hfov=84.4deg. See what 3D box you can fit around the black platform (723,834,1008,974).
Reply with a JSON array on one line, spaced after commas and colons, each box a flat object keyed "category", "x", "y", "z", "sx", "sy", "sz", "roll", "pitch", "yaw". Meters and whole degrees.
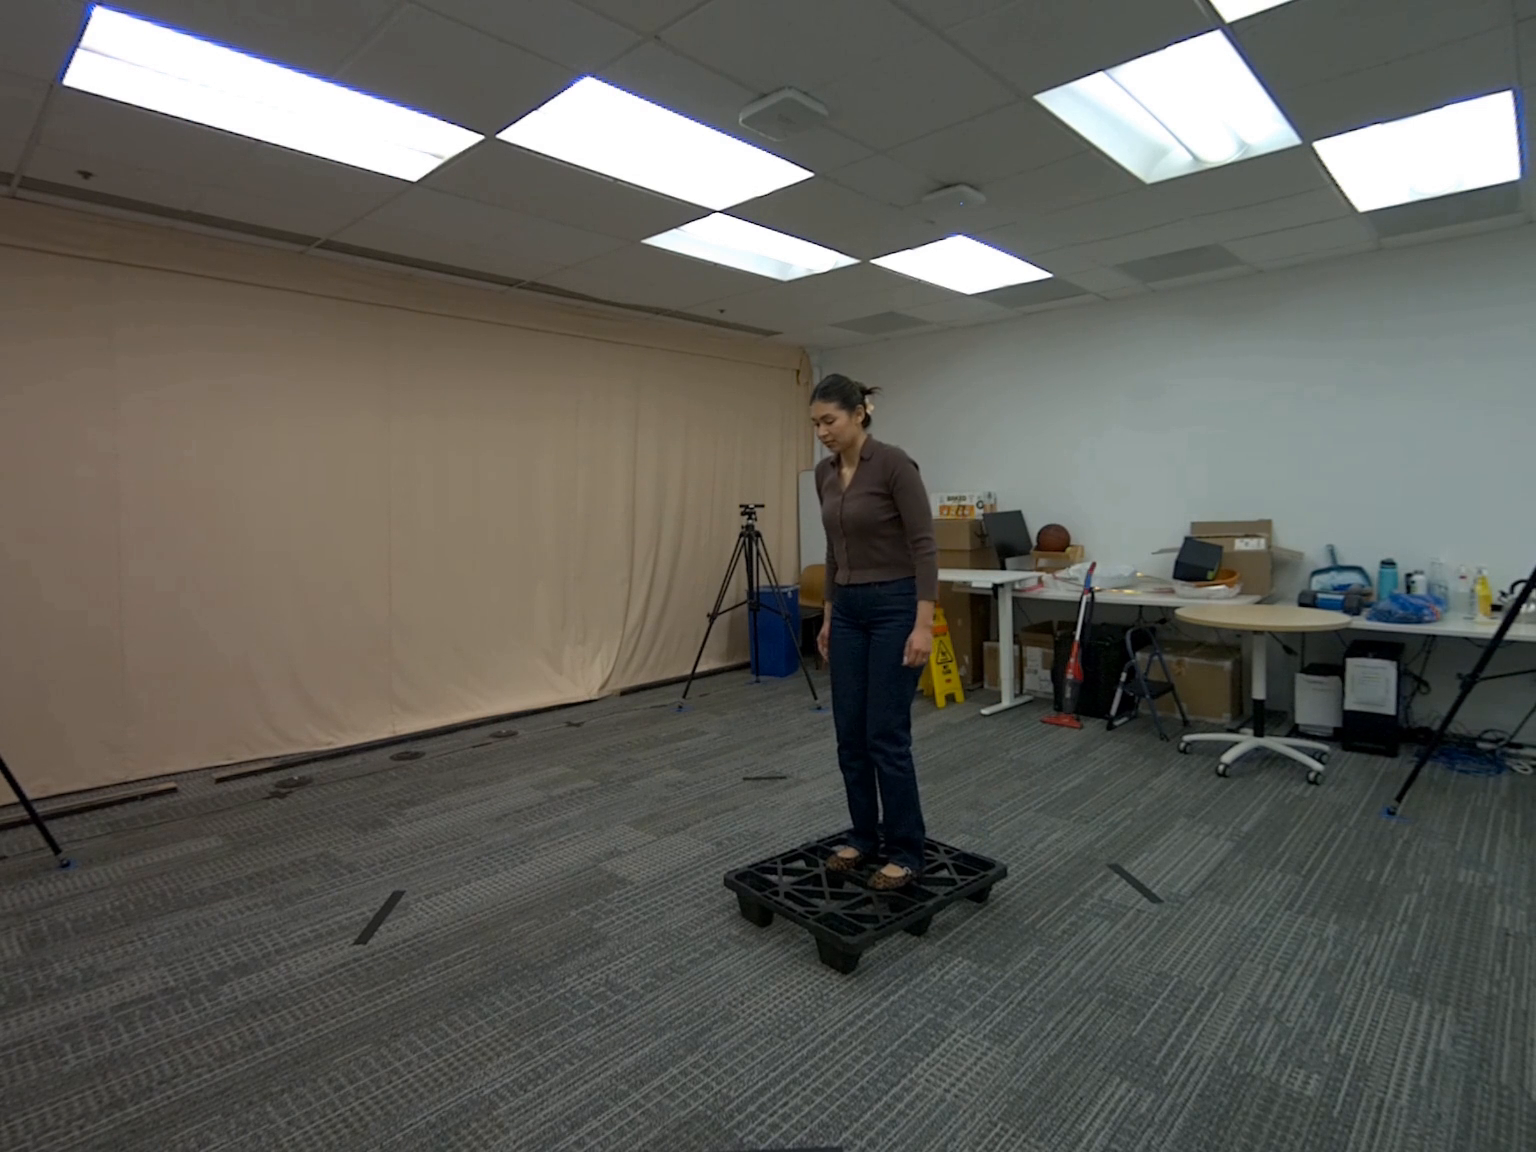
[{"category": "black platform", "x": 0.337, "y": 1.074, "z": 2.886, "sx": 0.781, "sy": 0.143, "sz": 0.625, "roll": -5, "pitch": 5, "yaw": -40}]
